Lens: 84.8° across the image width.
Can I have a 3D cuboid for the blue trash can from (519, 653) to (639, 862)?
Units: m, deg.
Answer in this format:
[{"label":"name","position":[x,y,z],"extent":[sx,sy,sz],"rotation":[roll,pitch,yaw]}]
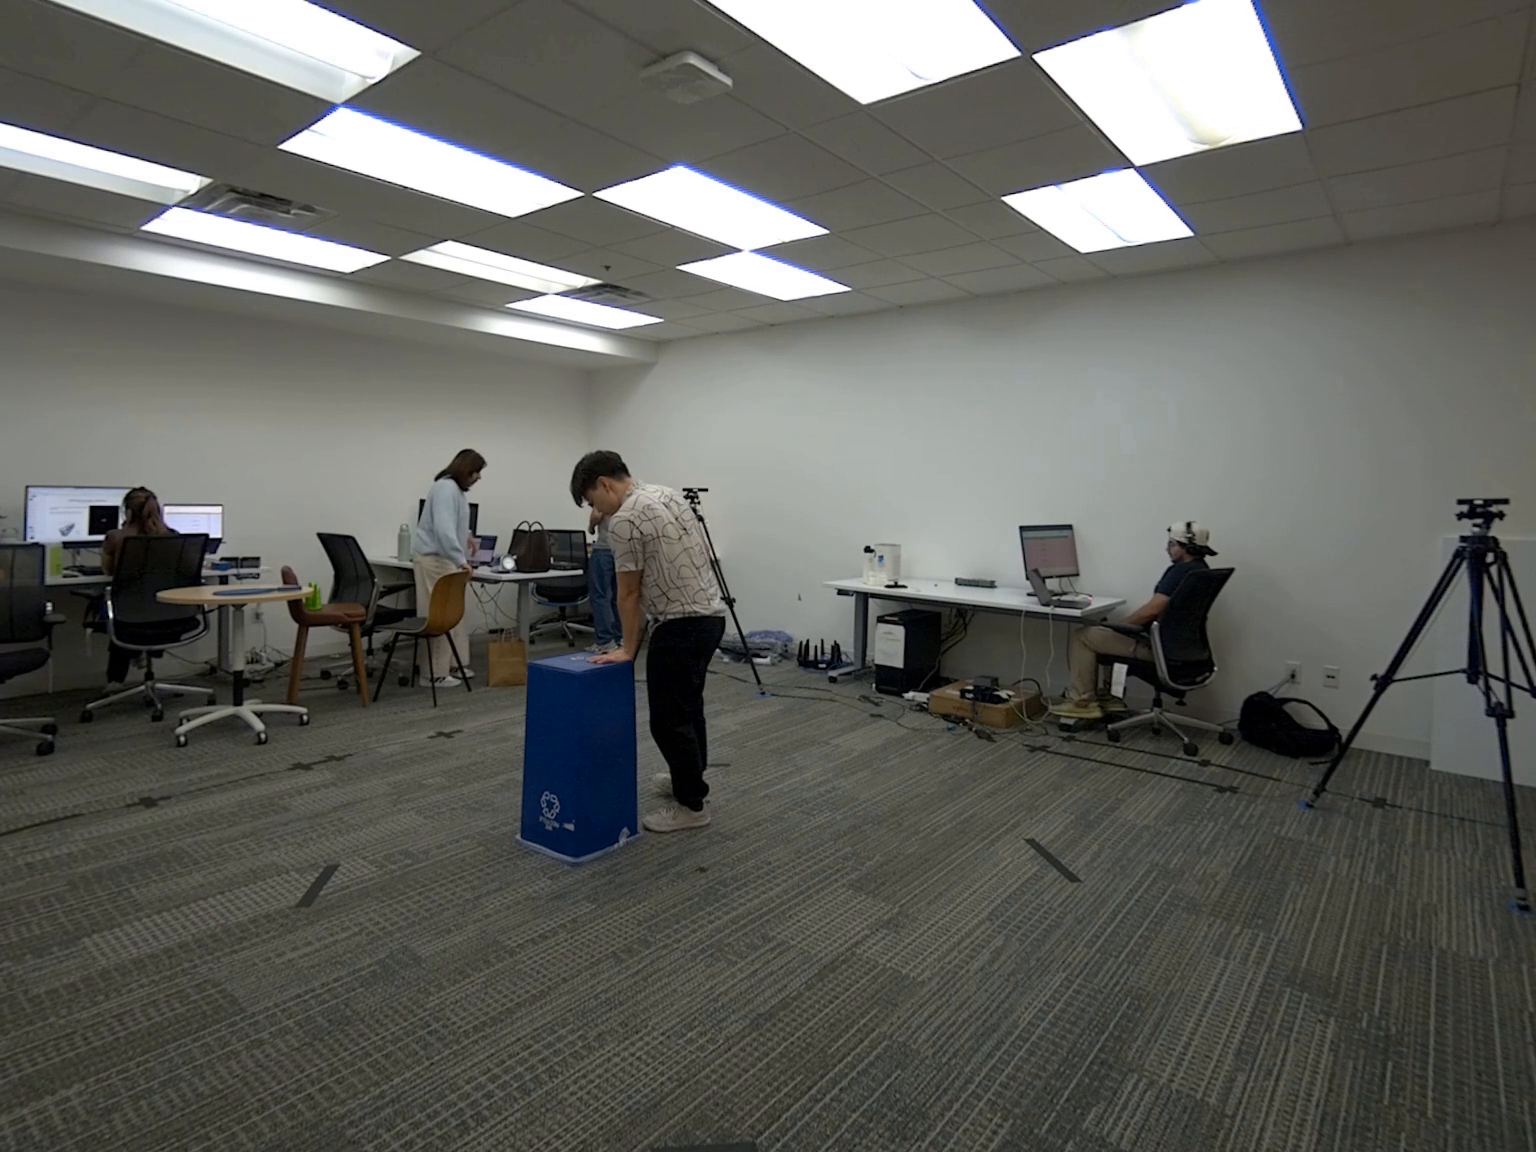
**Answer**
[{"label":"blue trash can","position":[-0.755,0.685,3.351],"extent":[0.386,0.712,0.367],"rotation":[2,2,37]}]
